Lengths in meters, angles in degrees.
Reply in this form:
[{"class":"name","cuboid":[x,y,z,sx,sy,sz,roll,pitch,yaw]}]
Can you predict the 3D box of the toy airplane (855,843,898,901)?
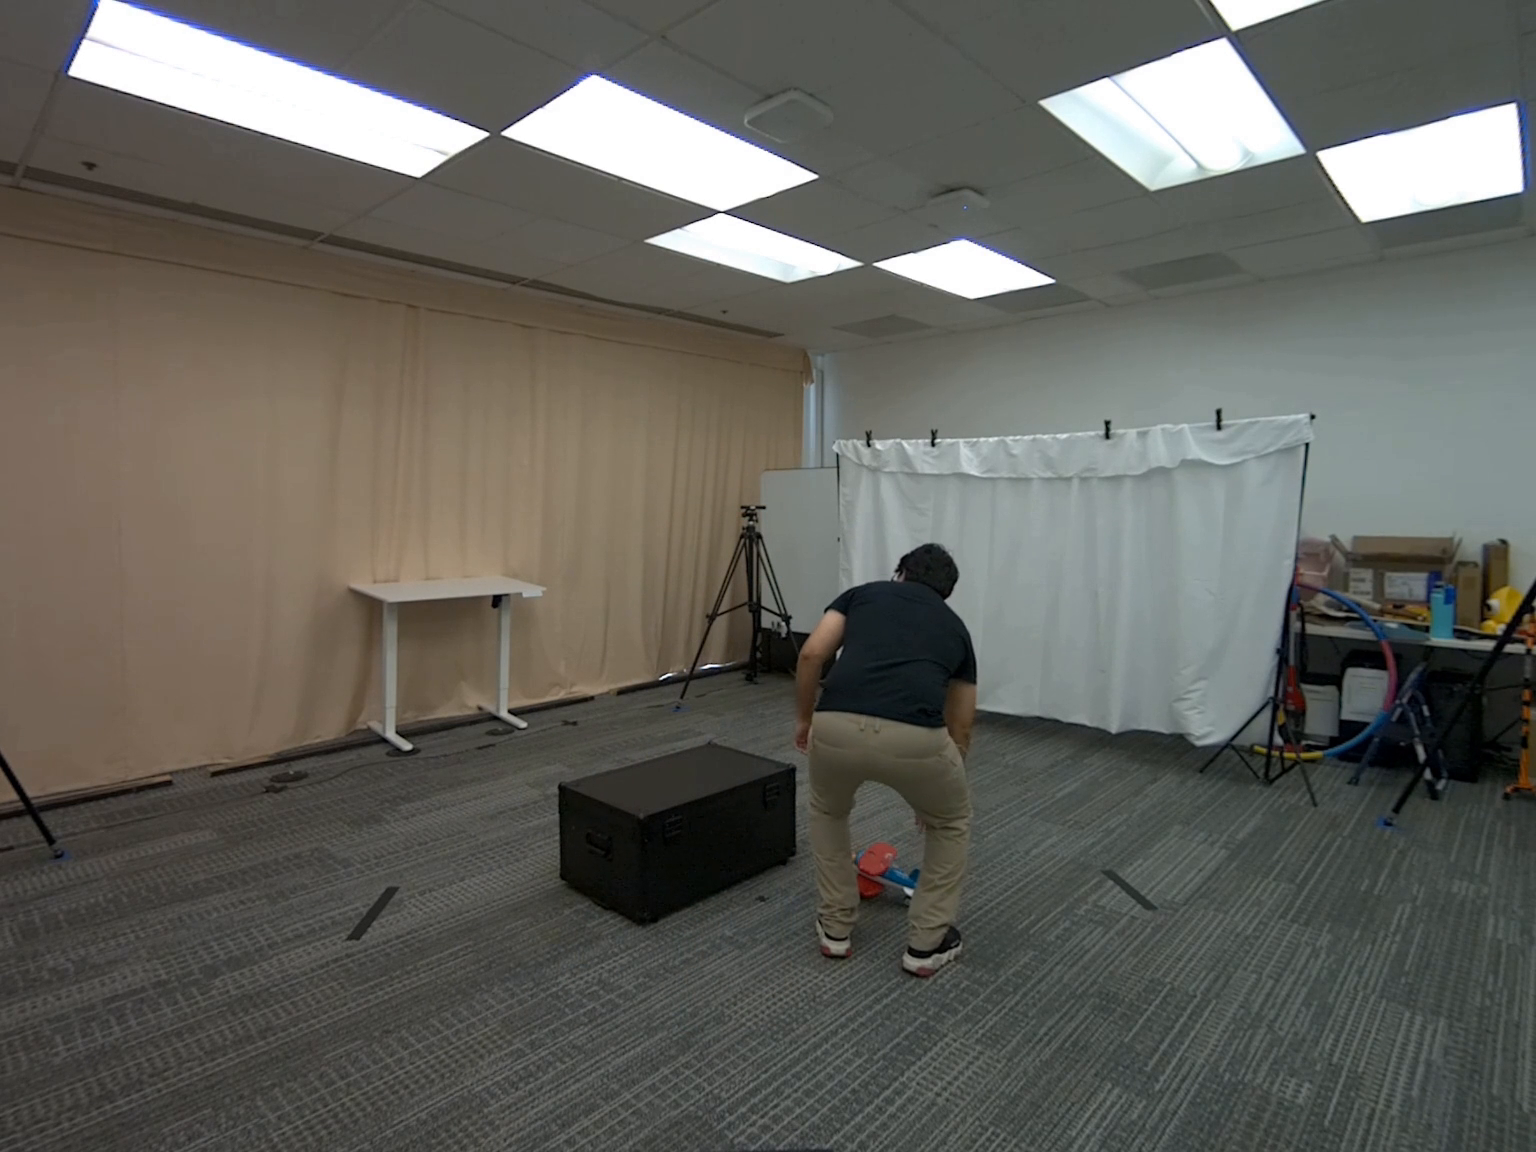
[{"class":"toy airplane","cuboid":[0.424,1.069,2.996,0.259,0.156,0.252,-2,4,-1]}]
